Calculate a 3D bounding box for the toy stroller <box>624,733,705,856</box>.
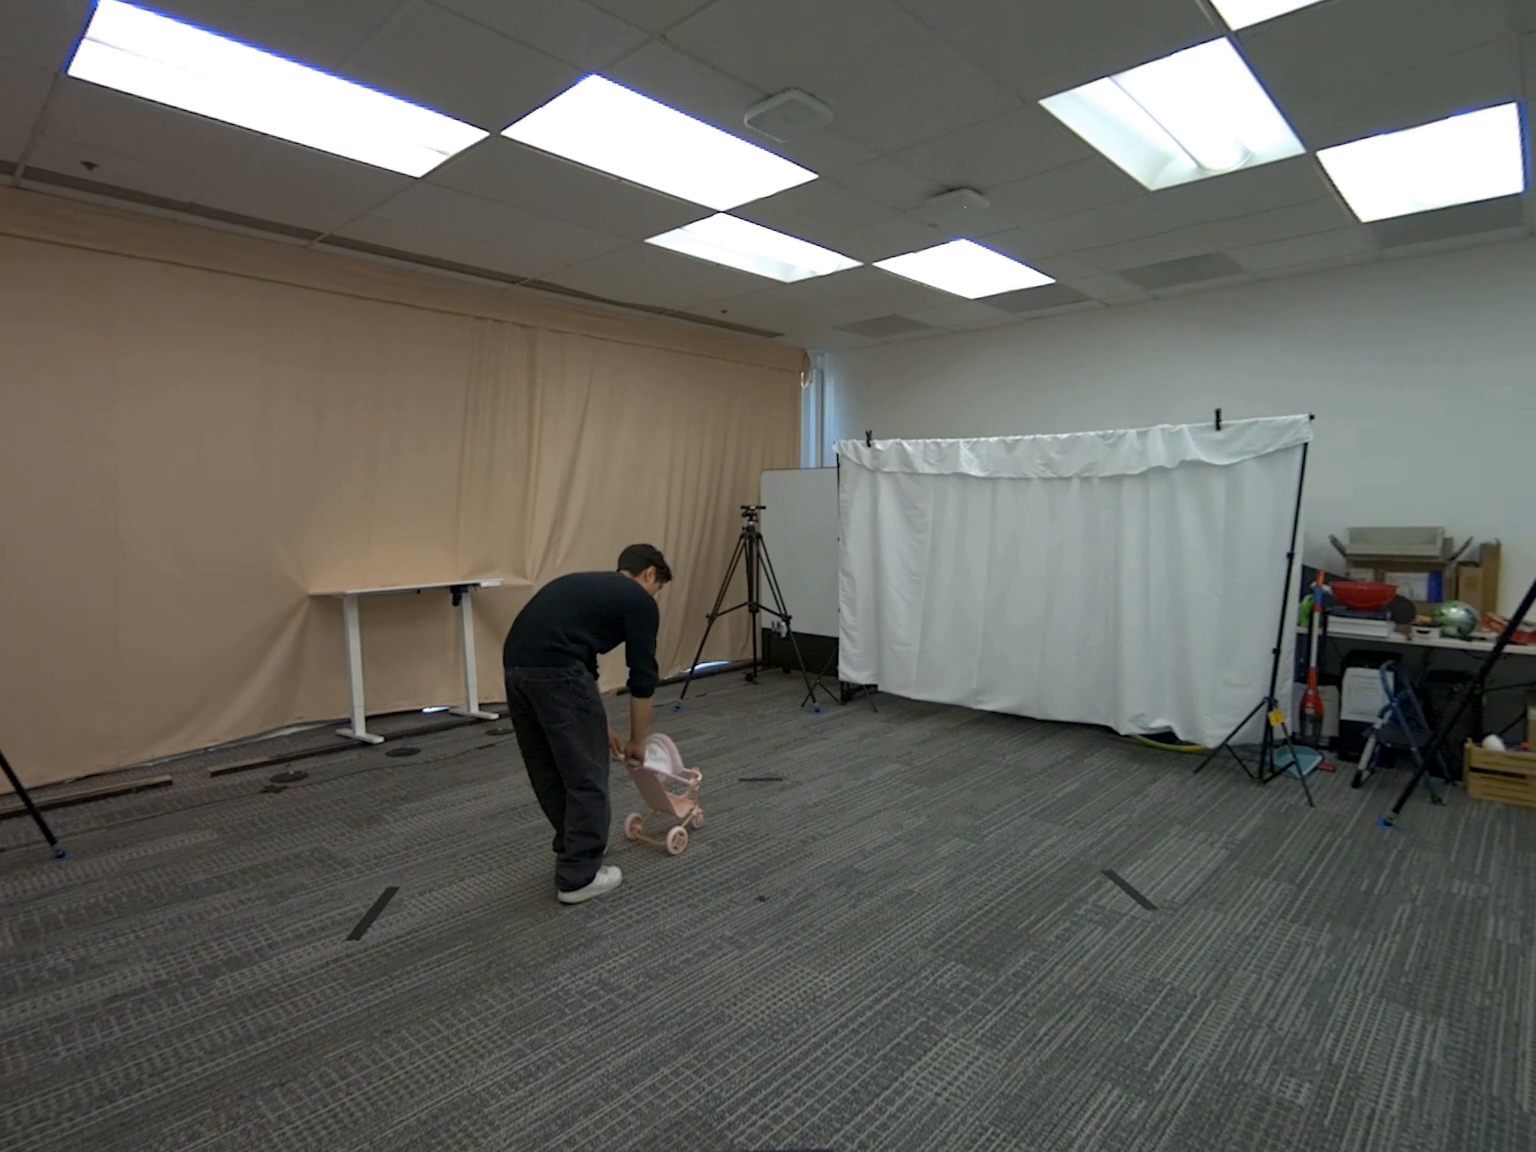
[{"bbox_3d":[-0.428,0.884,3.486,0.291,0.528,0.334,3,22,43],"label":"toy stroller"}]
